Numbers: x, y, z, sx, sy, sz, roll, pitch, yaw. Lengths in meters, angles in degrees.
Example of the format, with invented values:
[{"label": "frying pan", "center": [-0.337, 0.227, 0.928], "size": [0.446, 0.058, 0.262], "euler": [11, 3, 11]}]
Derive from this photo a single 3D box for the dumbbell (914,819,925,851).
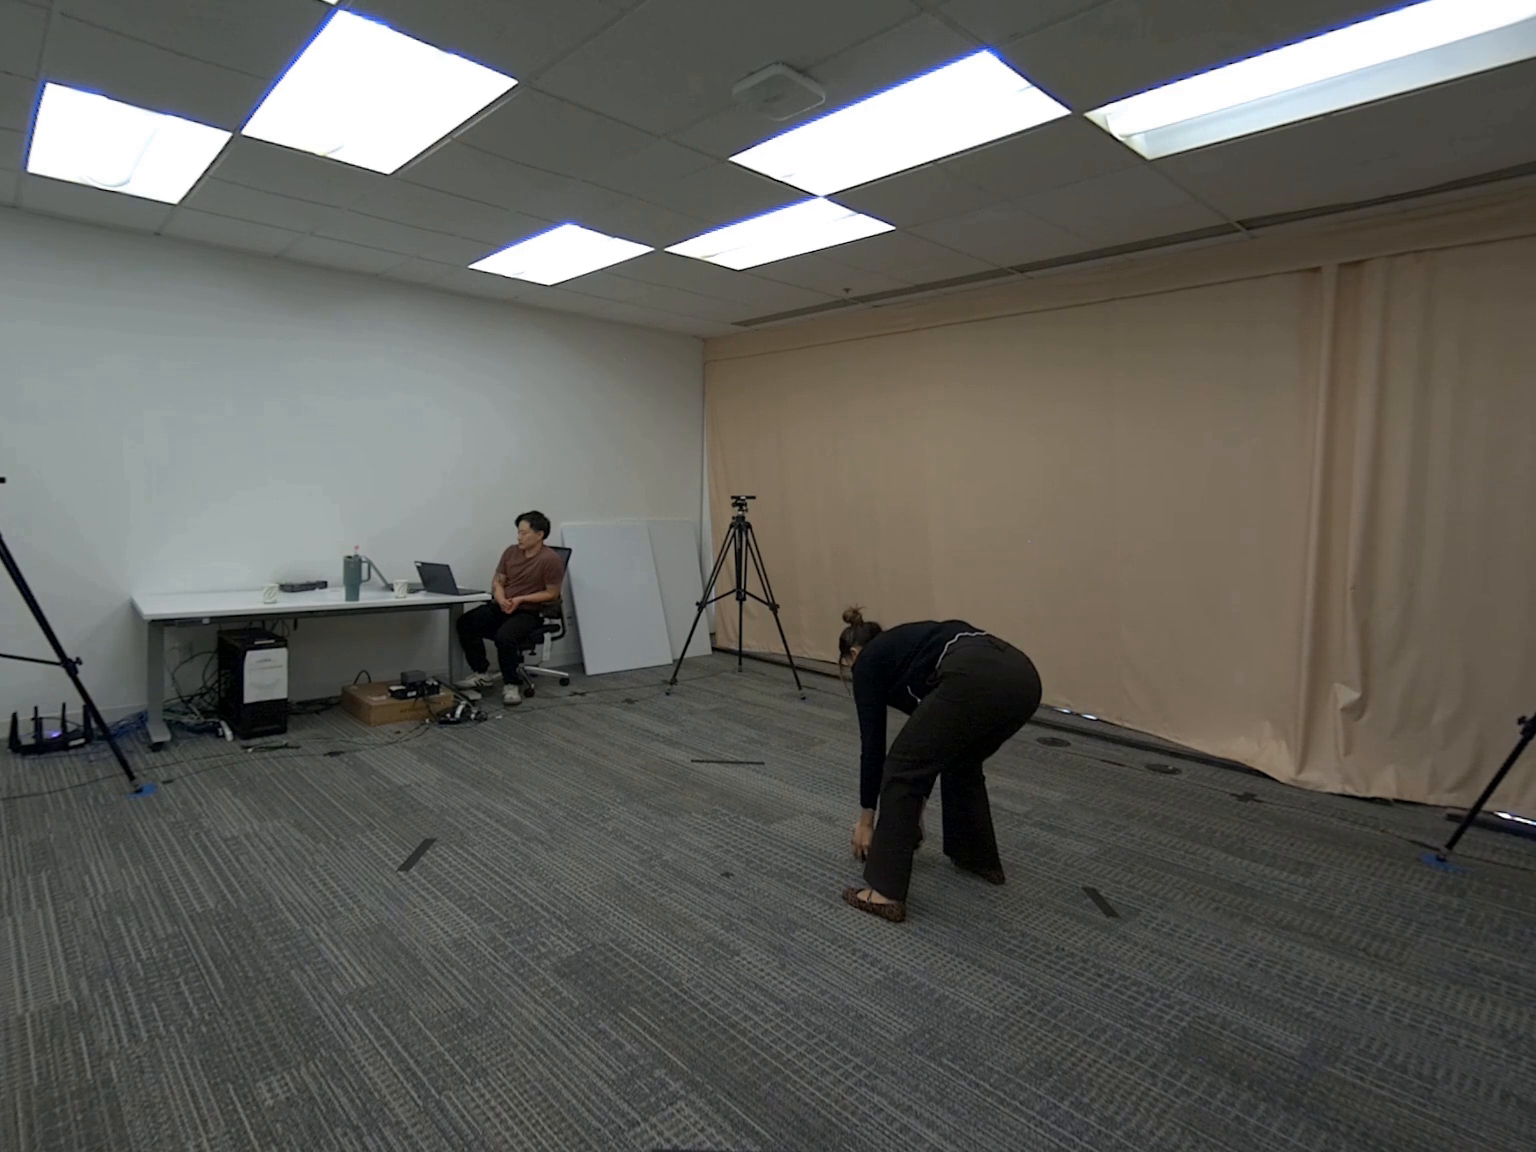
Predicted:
[{"label": "dumbbell", "center": [0.465, 0.997, 3.194], "size": [0.286, 0.122, 0.112], "euler": [2, 27, -38]}]
